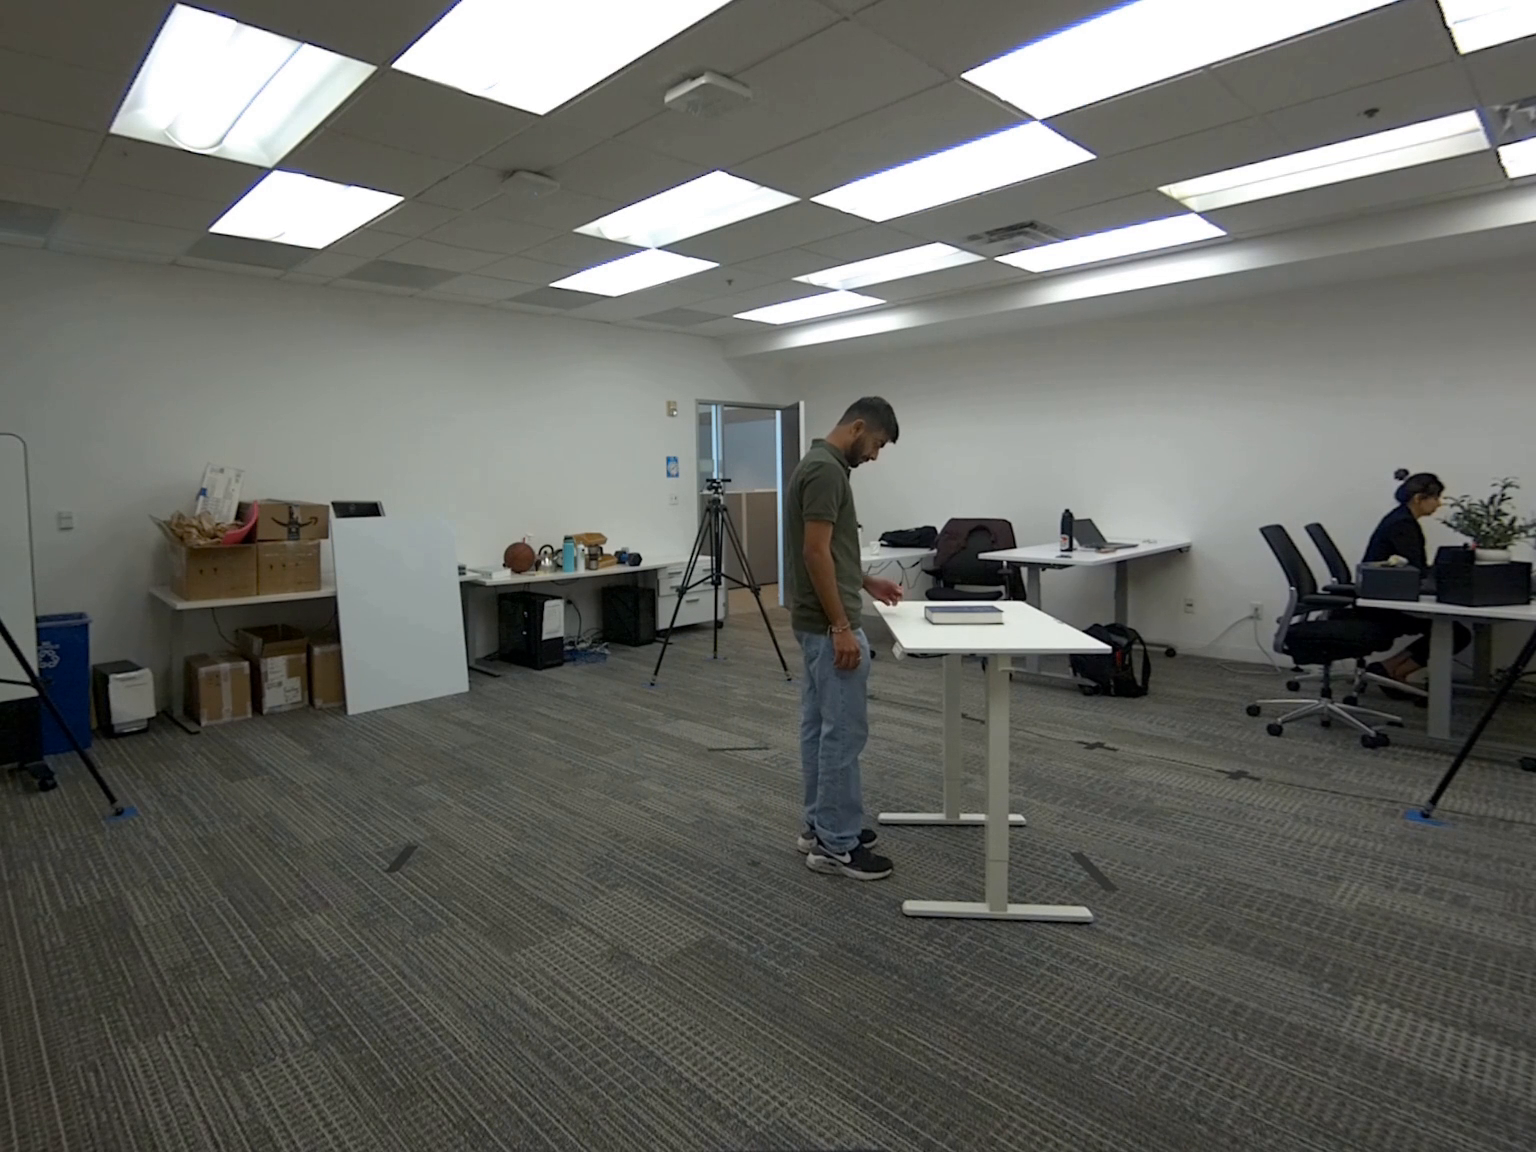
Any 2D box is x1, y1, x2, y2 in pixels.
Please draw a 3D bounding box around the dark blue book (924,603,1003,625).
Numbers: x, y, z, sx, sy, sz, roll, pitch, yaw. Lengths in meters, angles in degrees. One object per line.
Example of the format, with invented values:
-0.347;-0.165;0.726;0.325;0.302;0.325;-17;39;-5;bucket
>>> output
0.690;0.134;3.025;0.245;0.045;0.164;0;6;0;dark blue book
